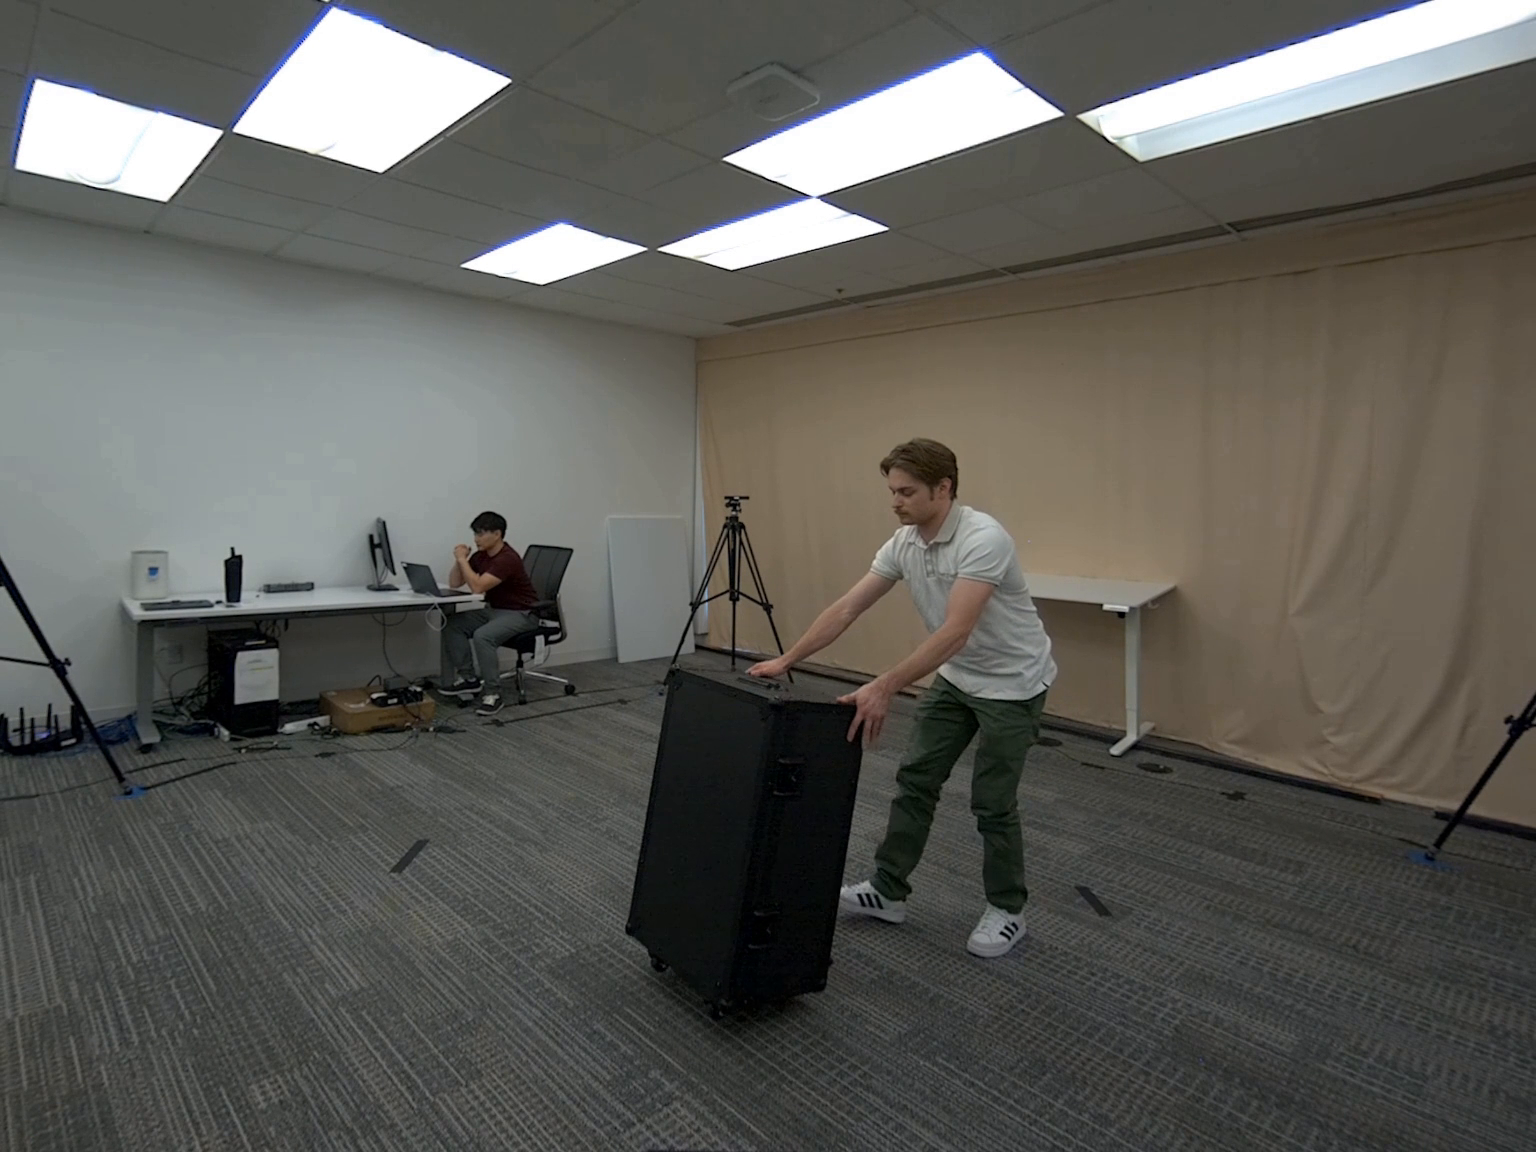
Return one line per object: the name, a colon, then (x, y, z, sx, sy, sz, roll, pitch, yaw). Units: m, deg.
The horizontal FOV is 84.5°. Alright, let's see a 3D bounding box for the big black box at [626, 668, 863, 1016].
big black box: (-0.072, 0.736, 2.393, 0.385, 0.863, 0.534, 12, -4, -40)
